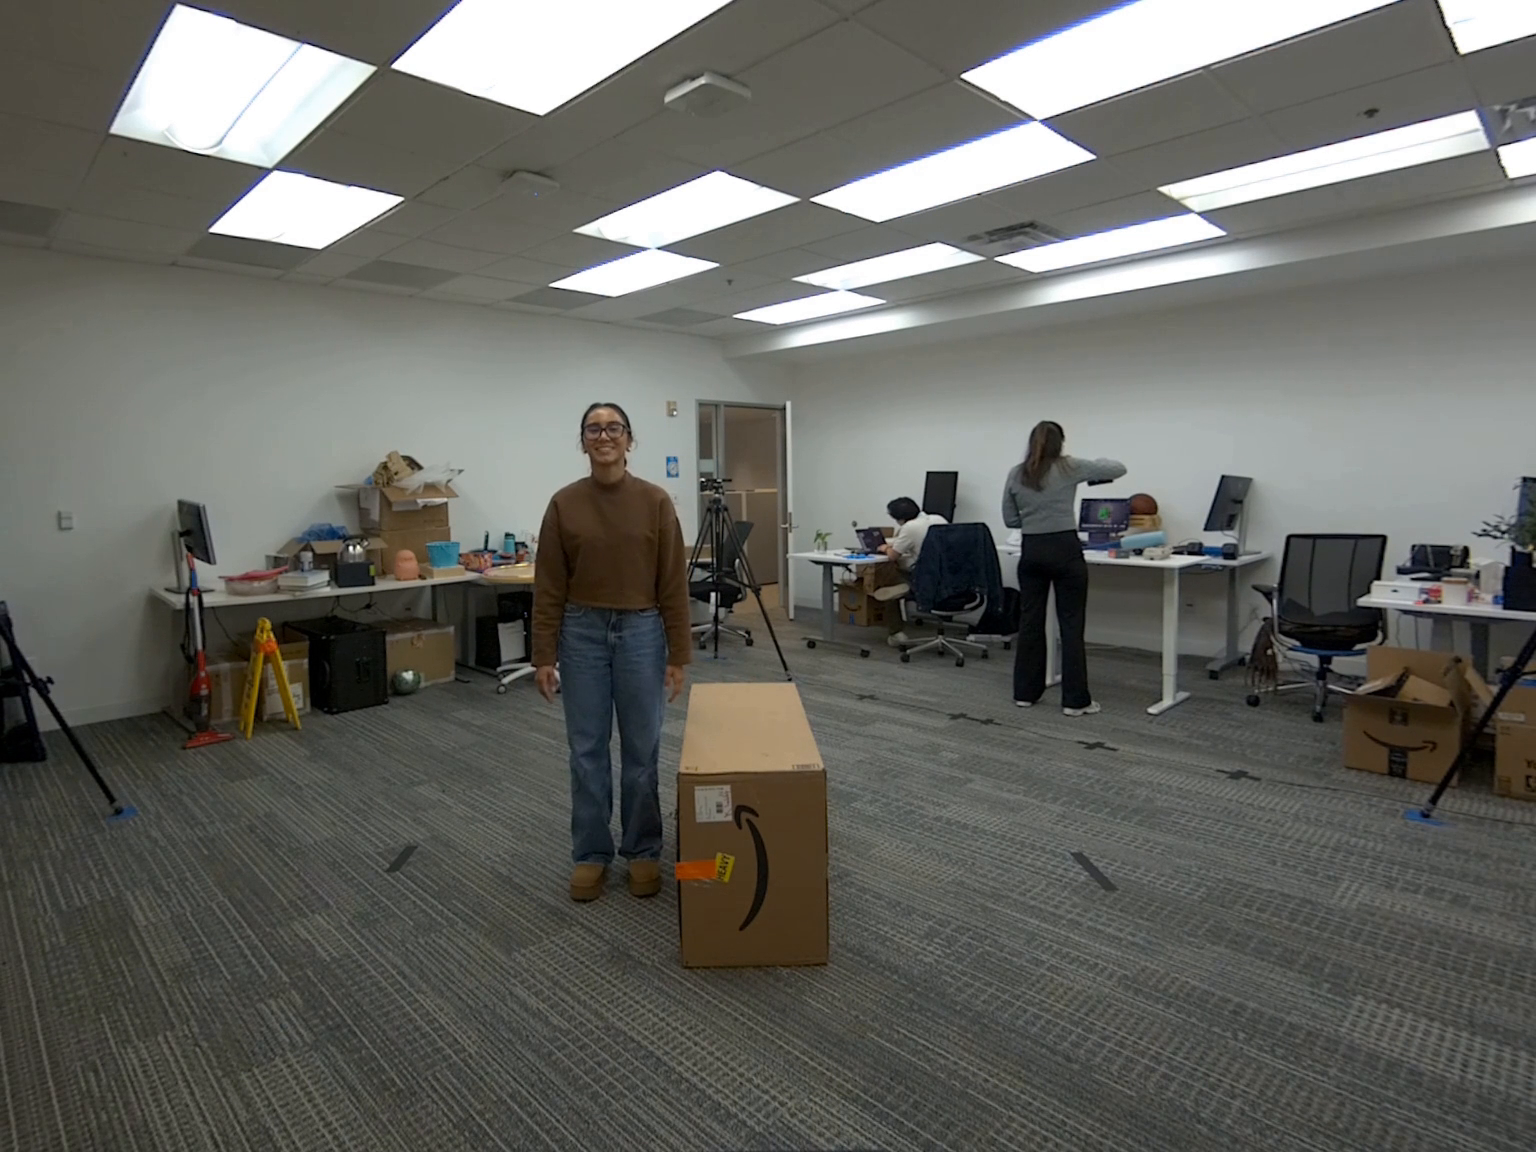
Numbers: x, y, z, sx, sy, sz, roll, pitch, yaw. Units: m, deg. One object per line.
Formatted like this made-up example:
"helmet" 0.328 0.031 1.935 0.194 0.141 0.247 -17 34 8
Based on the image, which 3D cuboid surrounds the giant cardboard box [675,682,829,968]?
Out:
"giant cardboard box" -0.070 0.779 2.939 0.446 0.581 1.032 0 5 -2
